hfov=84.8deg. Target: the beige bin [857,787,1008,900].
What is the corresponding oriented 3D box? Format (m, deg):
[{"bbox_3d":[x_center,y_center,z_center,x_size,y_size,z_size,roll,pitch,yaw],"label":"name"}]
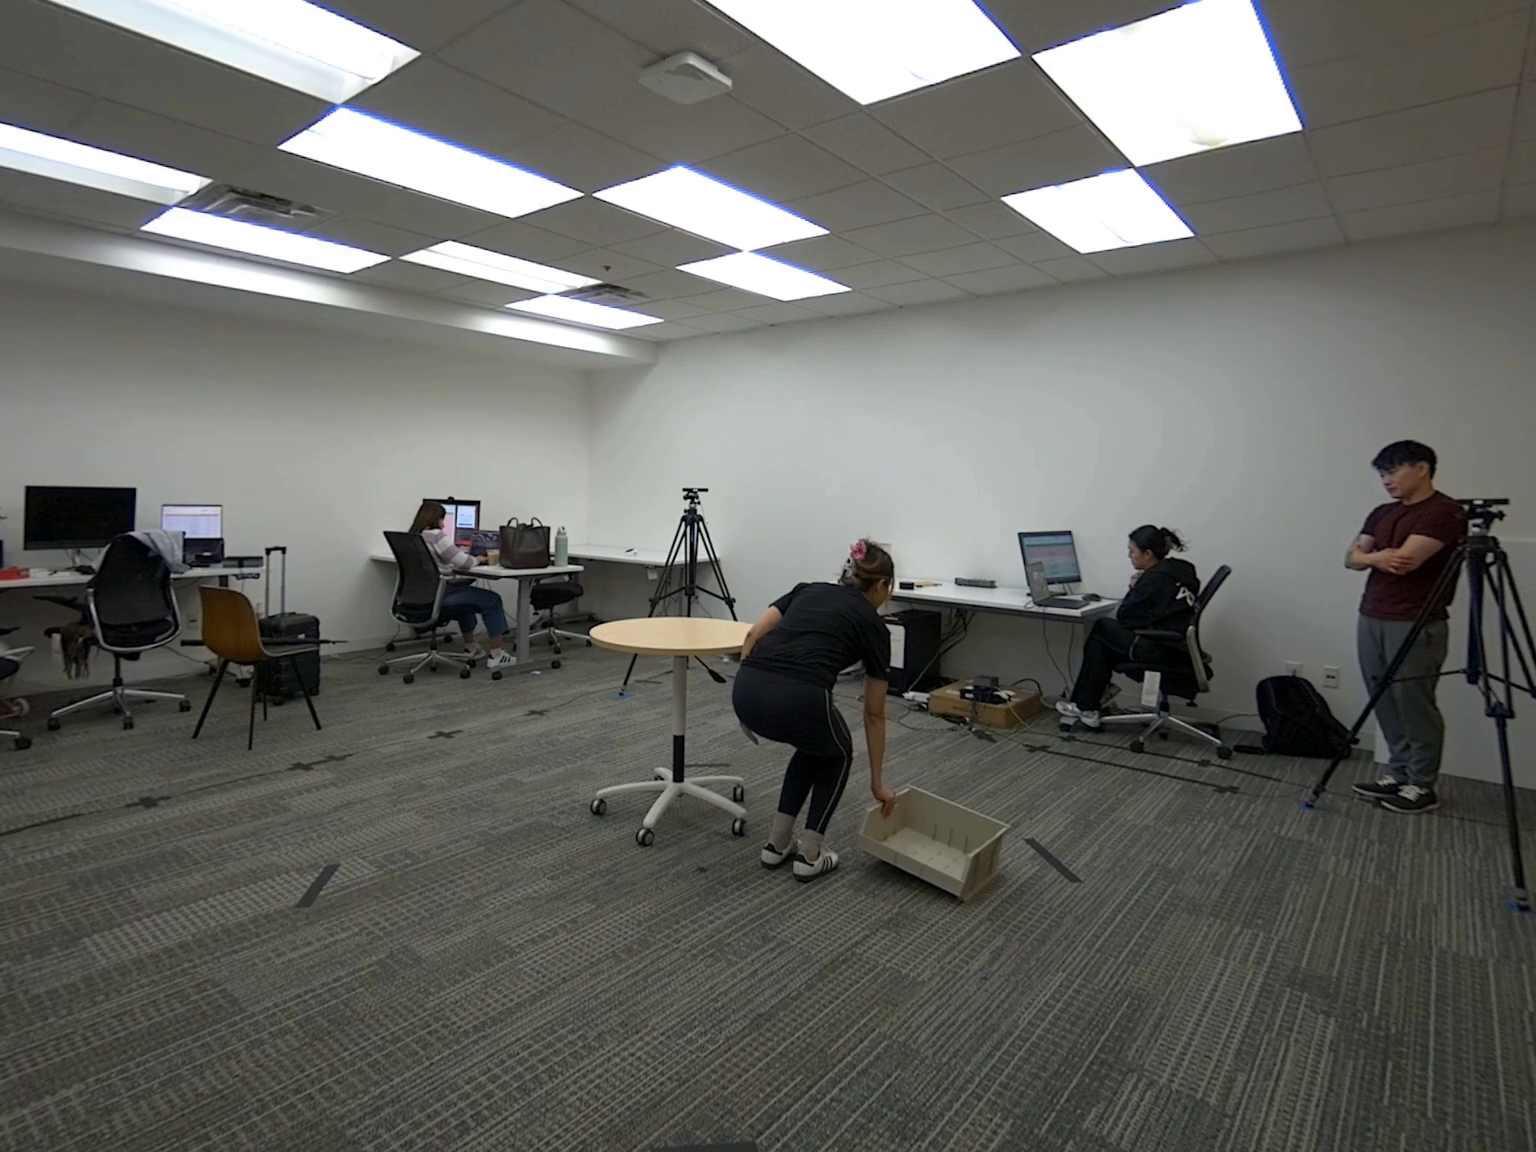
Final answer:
[{"bbox_3d":[0.602,0.973,3.130,0.438,0.188,0.366,13,10,37],"label":"beige bin"}]
